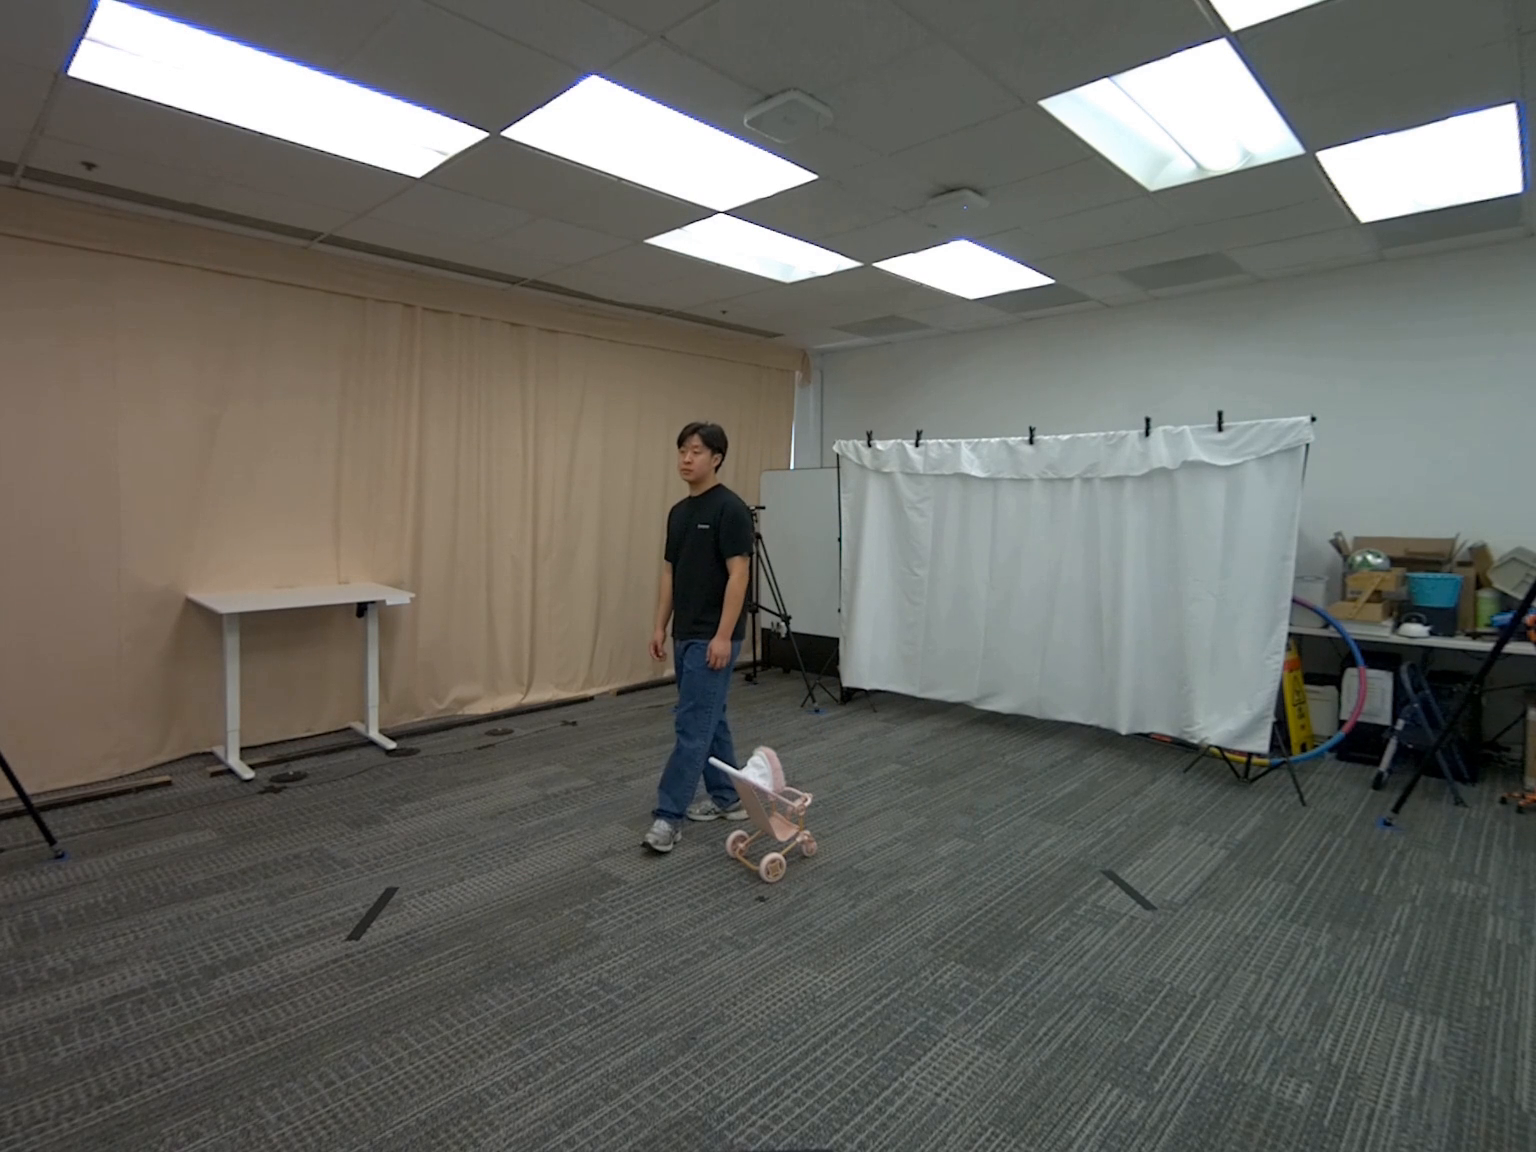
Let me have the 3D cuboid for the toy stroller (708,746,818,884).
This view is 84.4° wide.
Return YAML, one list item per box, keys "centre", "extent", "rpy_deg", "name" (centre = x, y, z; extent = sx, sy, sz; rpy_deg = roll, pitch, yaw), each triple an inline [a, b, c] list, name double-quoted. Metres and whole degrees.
- centre: [0.009, 0.895, 3.239]
  extent: [0.335, 0.531, 0.289]
  rpy_deg: [-18, 11, -26]
  name: "toy stroller"
